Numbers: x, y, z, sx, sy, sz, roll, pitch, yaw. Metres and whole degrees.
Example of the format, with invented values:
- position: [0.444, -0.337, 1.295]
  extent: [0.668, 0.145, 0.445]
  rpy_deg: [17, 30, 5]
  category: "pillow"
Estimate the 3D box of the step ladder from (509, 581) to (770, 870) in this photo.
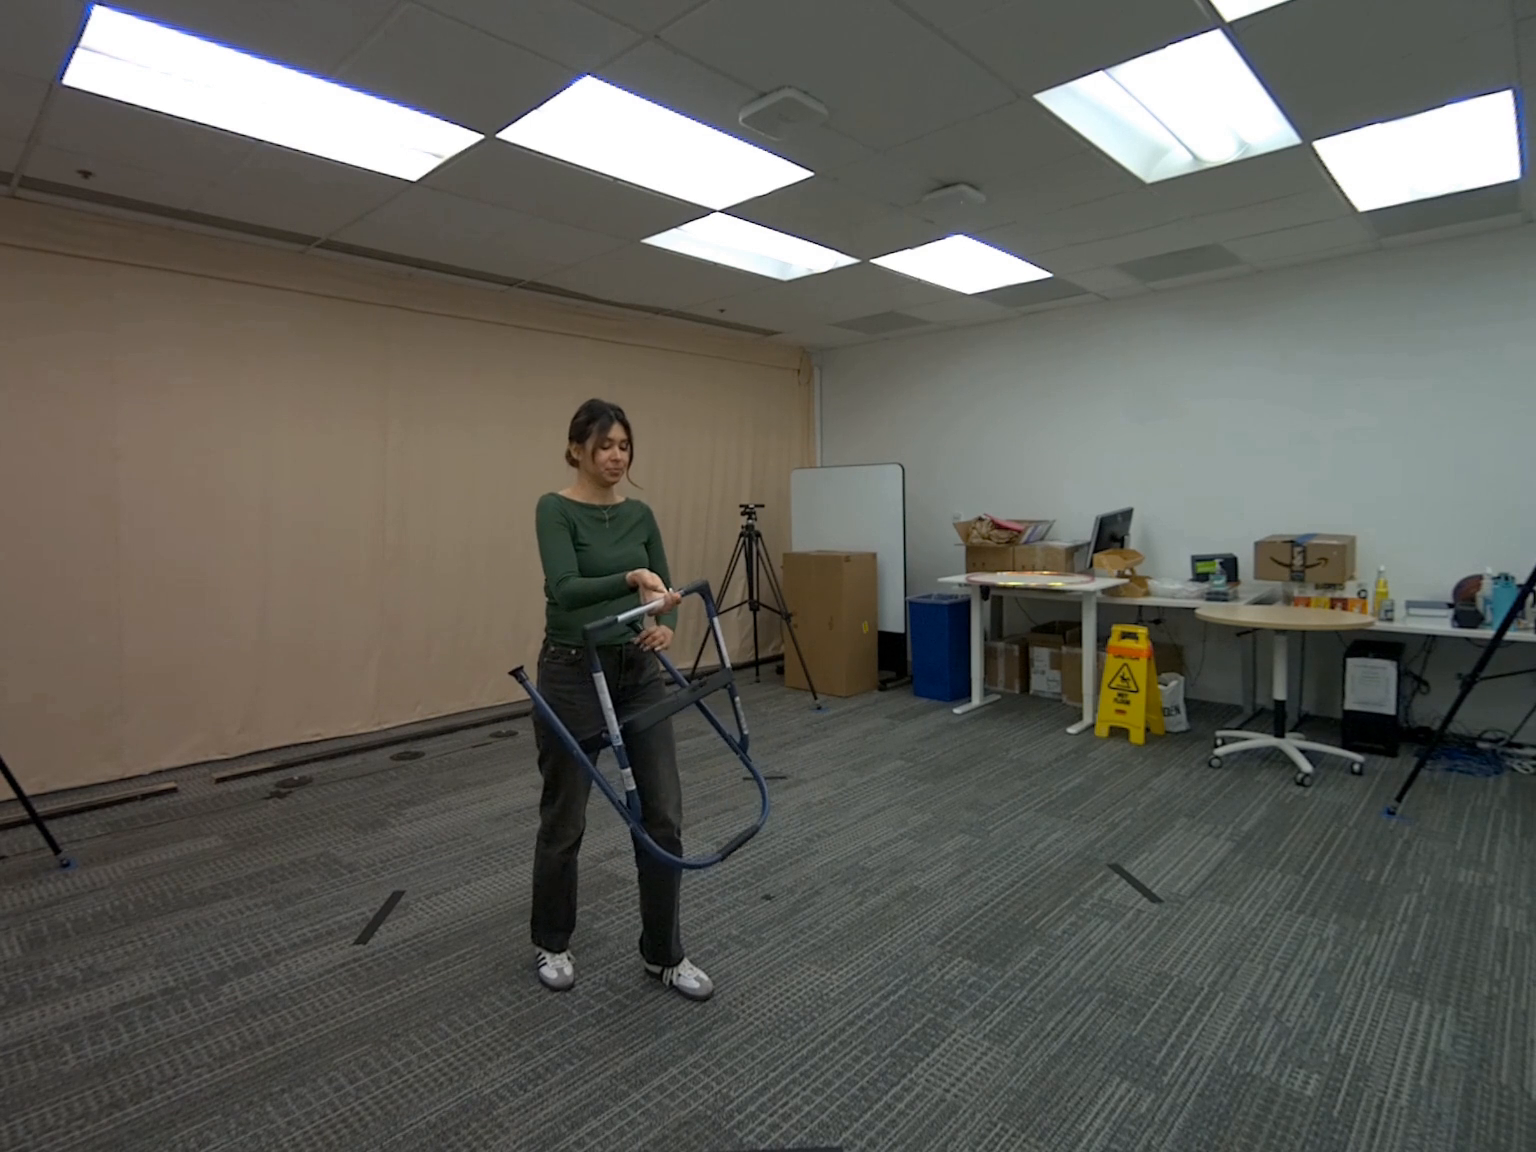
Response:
- position: [-0.256, 0.382, 2.046]
  extent: [0.421, 0.610, 0.355]
  rpy_deg: [-22, -8, -48]
  category: "step ladder"
